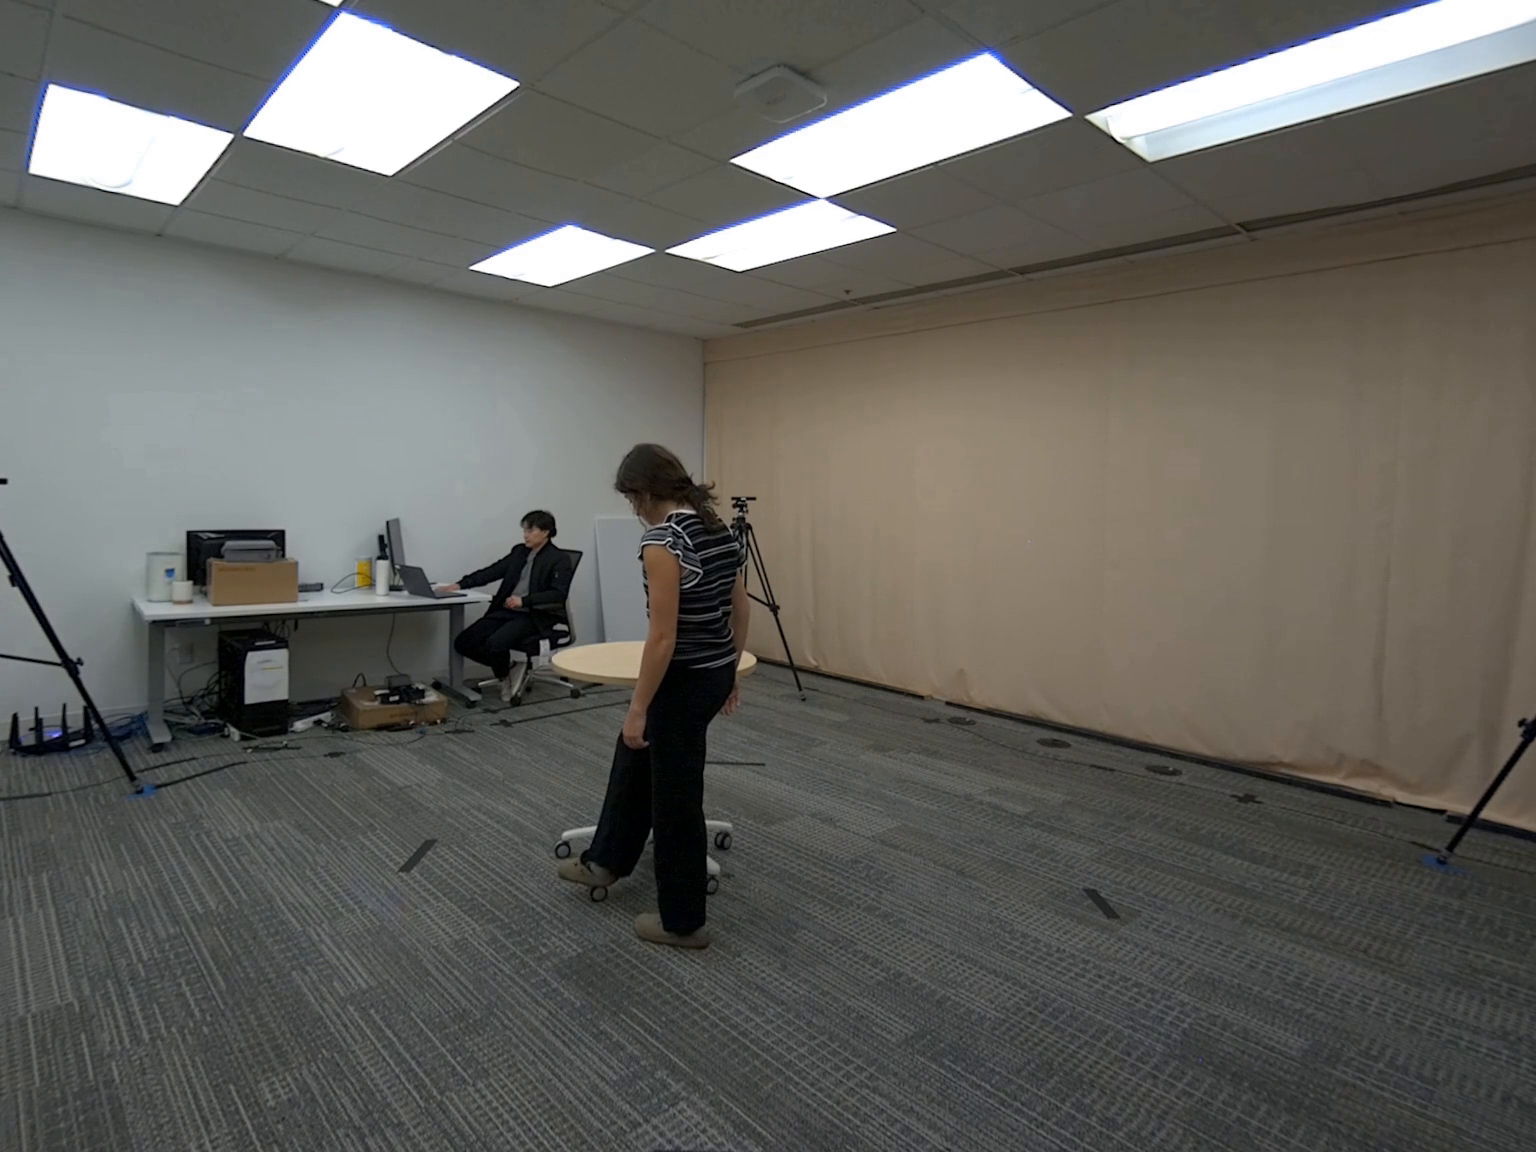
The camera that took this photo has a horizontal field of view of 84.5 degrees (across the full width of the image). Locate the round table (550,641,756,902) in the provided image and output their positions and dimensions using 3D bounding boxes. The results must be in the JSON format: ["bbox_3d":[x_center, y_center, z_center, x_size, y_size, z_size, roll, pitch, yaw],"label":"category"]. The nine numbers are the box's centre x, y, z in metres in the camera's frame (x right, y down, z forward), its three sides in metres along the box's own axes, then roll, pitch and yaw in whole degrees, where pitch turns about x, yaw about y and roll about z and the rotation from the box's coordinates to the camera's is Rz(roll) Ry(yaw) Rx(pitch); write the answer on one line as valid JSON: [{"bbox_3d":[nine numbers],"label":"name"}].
[{"bbox_3d":[-0.439,0.701,3.176,0.784,0.784,0.788,1,4,-1],"label":"round table"}]
